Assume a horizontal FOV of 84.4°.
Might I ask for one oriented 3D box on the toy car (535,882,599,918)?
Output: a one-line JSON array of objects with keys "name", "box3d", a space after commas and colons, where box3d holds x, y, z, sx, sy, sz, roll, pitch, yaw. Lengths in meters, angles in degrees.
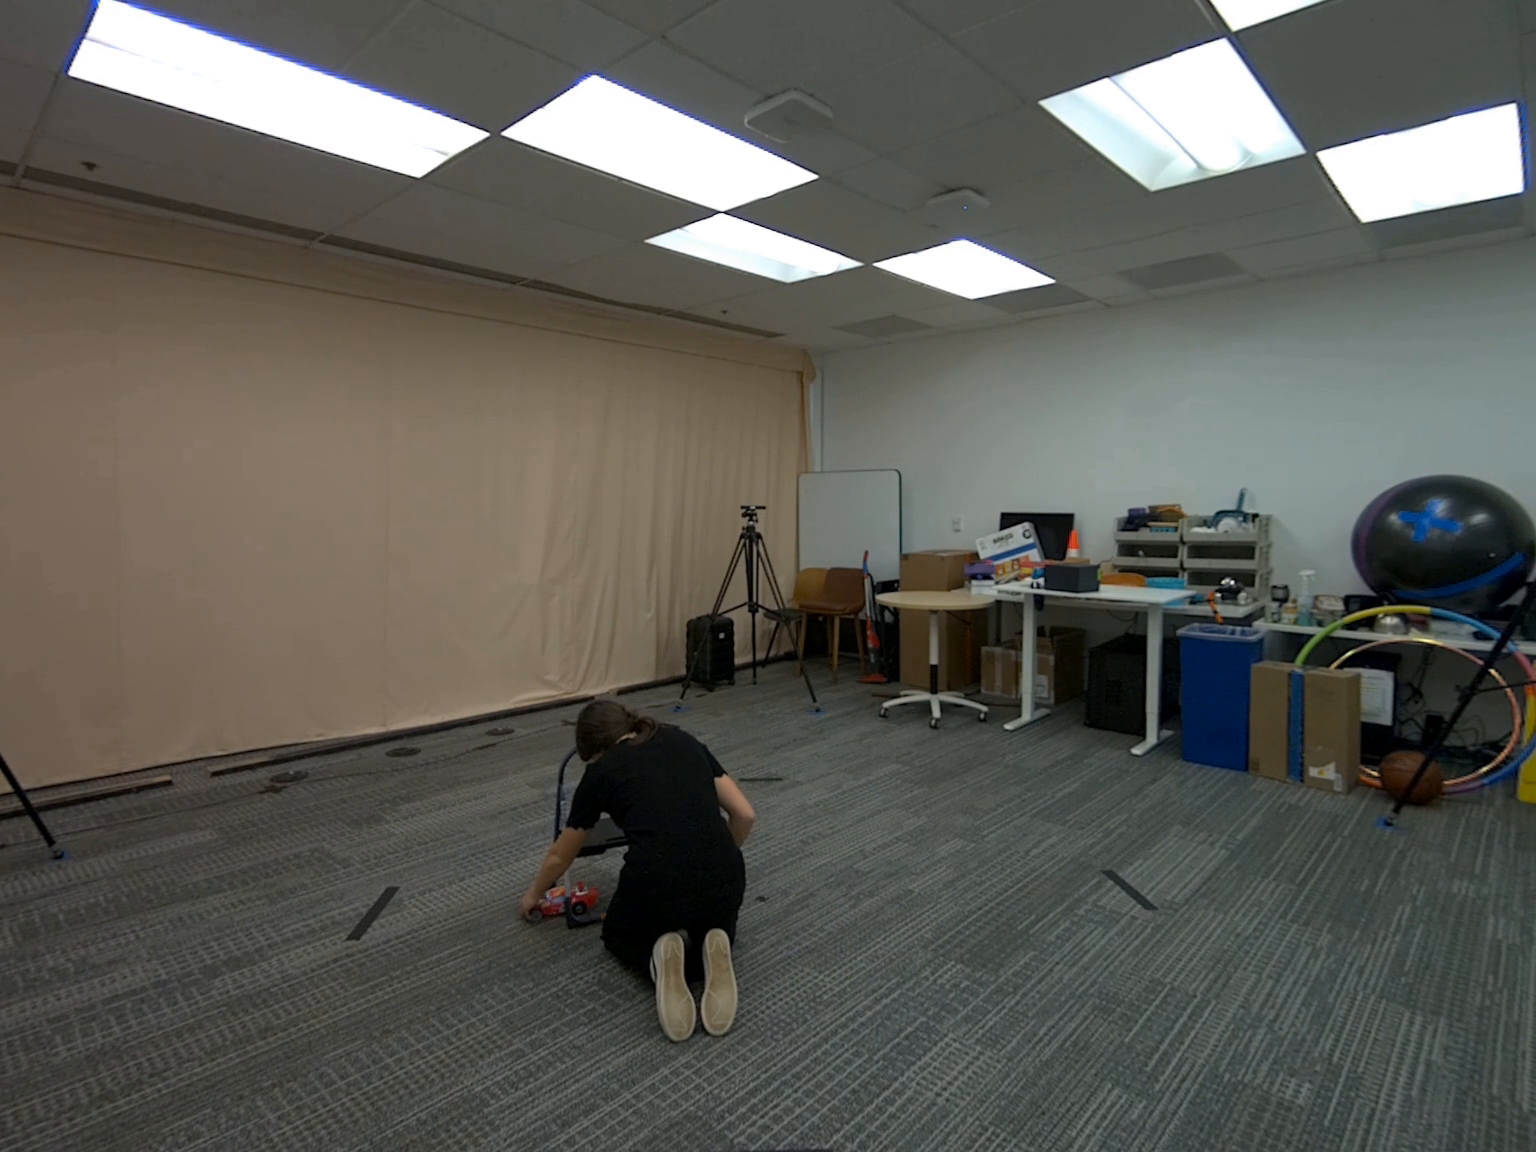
[{"name": "toy car", "box3d": [-0.706, 1.129, 2.901, 0.251, 0.083, 0.133, -14, 9, -16]}]
